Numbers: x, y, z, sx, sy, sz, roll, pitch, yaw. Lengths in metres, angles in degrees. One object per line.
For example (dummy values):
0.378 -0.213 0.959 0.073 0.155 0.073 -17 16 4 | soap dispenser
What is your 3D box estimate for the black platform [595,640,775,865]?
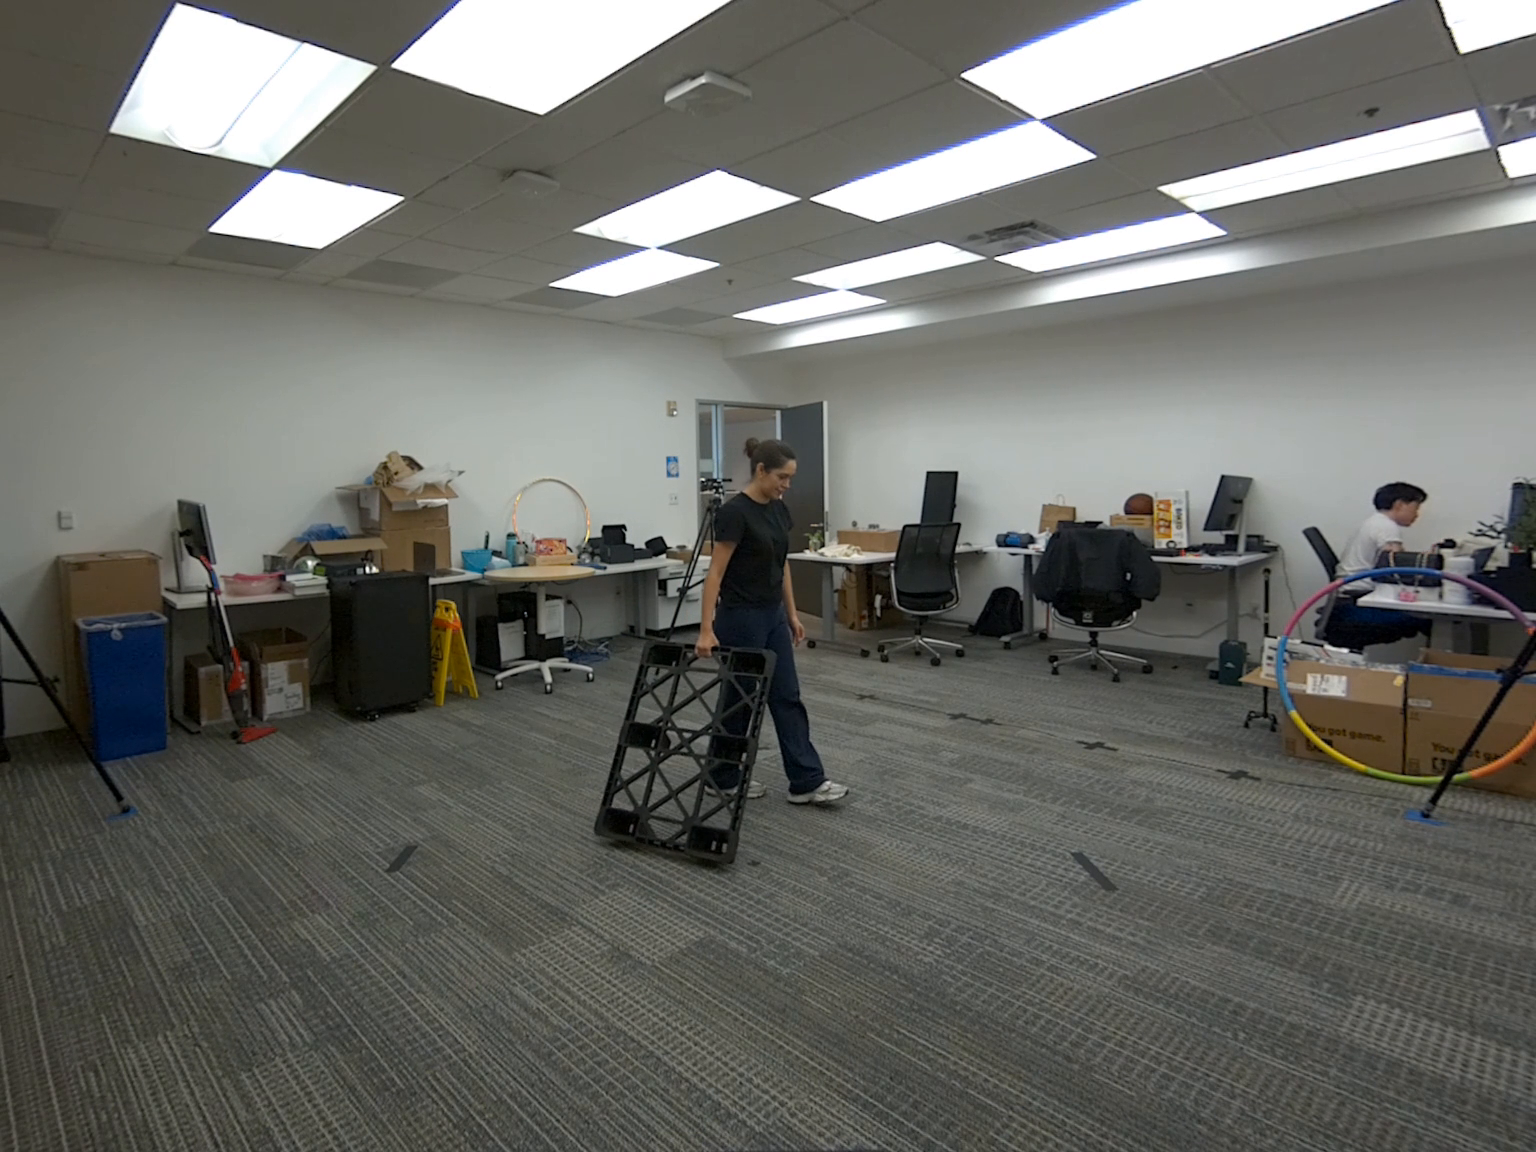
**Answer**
-0.301 0.664 3.374 0.619 0.817 0.138 1 -26 26 | black platform
